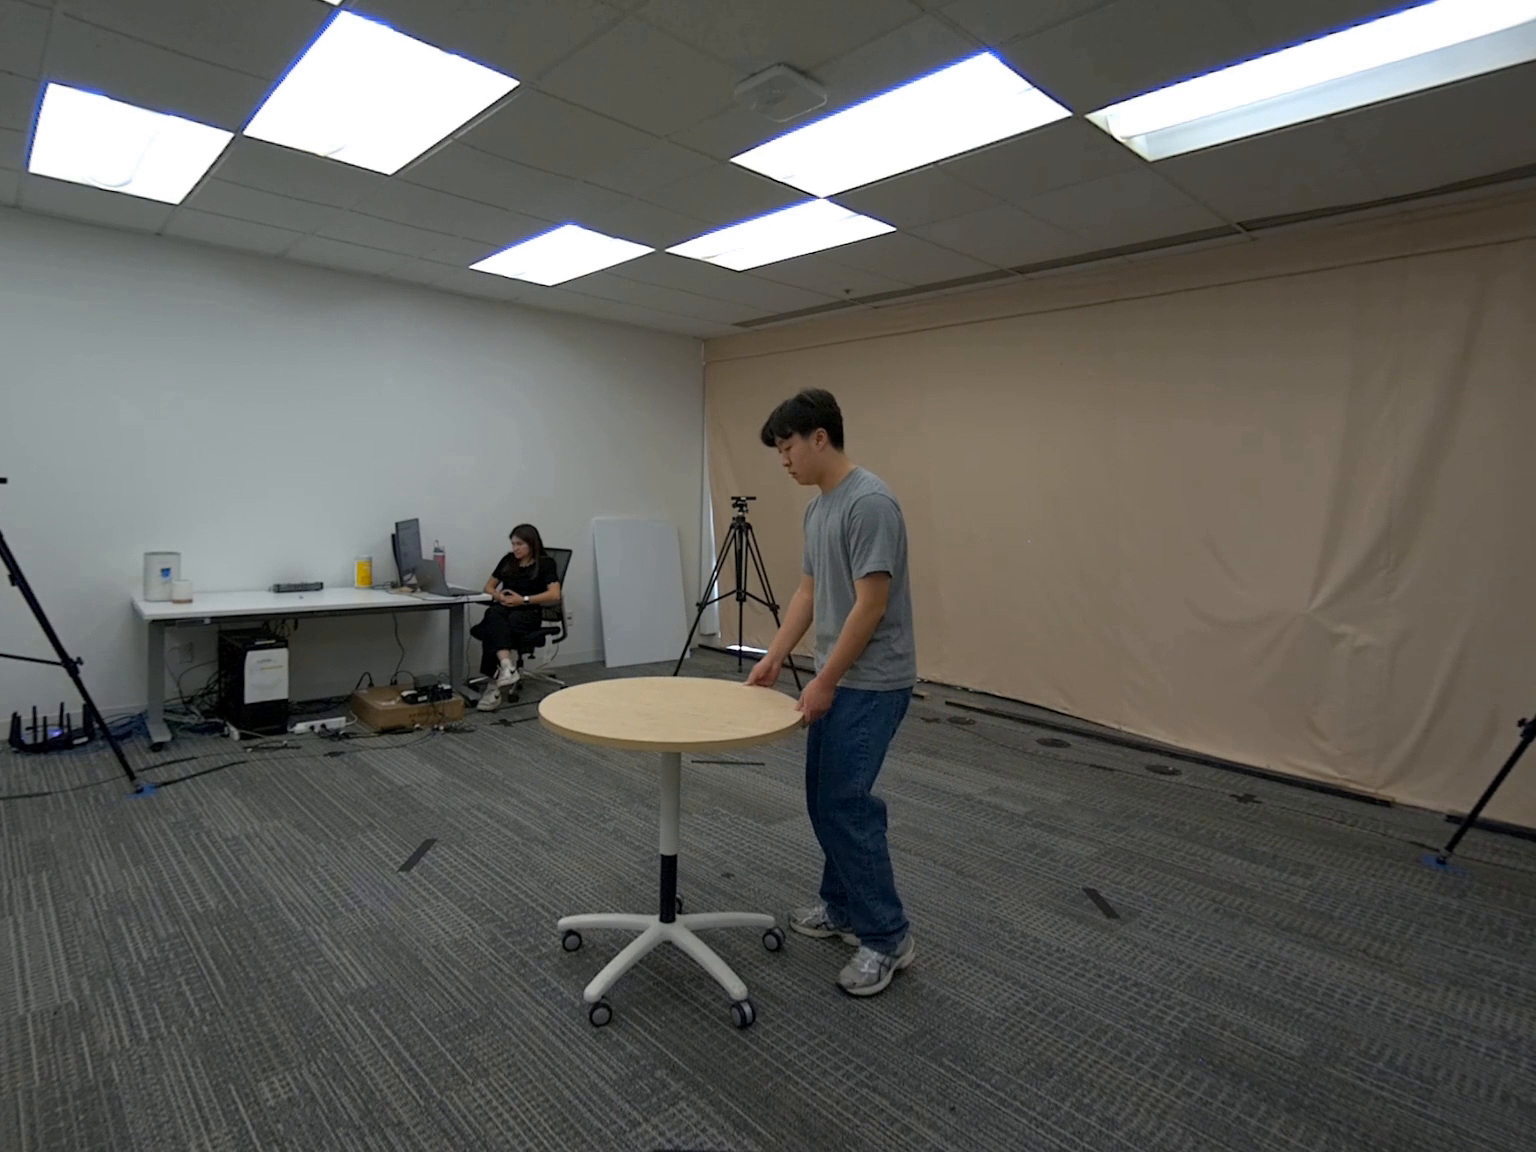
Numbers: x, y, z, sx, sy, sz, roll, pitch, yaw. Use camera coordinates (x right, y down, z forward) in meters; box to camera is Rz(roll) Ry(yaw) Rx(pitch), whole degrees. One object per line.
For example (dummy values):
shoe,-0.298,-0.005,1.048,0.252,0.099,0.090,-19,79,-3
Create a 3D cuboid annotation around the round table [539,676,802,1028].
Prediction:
round table,-0.285,0.772,2.472,0.763,0.792,0.766,1,4,-1
